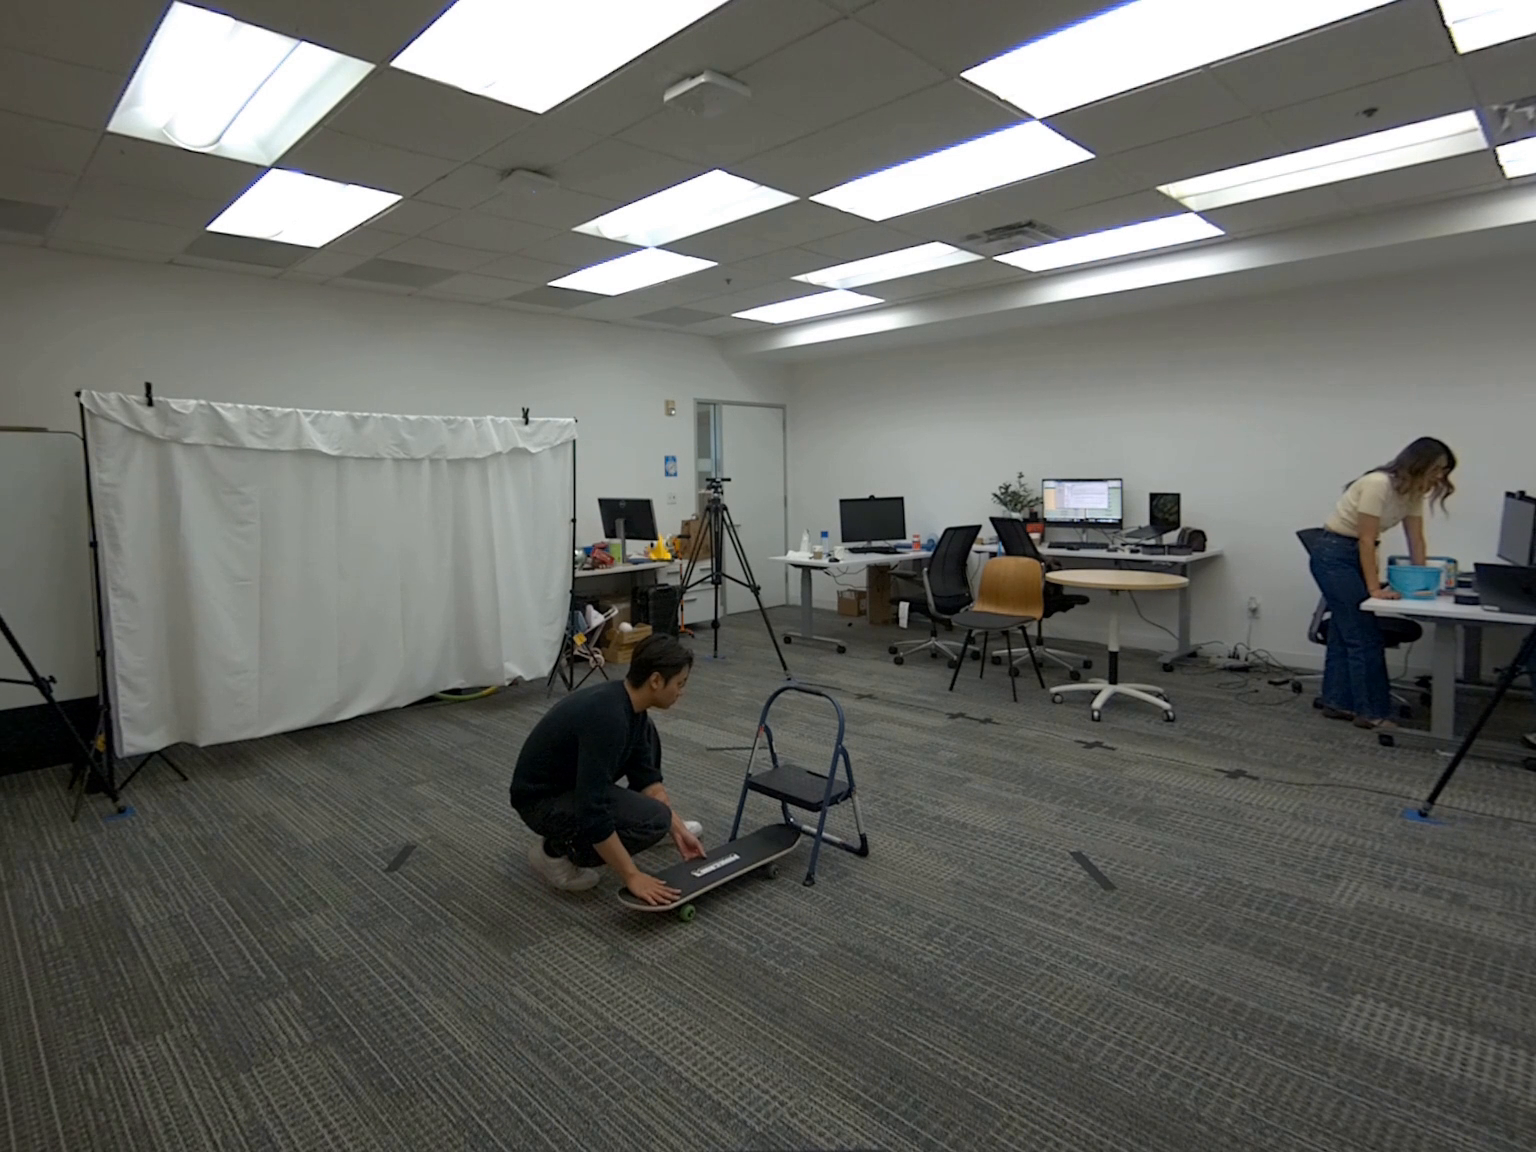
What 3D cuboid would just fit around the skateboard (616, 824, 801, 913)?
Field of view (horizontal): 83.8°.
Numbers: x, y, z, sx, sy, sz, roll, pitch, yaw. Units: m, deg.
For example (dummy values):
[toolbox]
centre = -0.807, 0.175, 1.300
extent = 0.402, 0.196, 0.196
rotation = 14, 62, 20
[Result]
[skateboard]
centre = -0.174, 1.003, 2.910
extent = 0.199, 0.110, 0.765
rotation = 4, 9, 45
